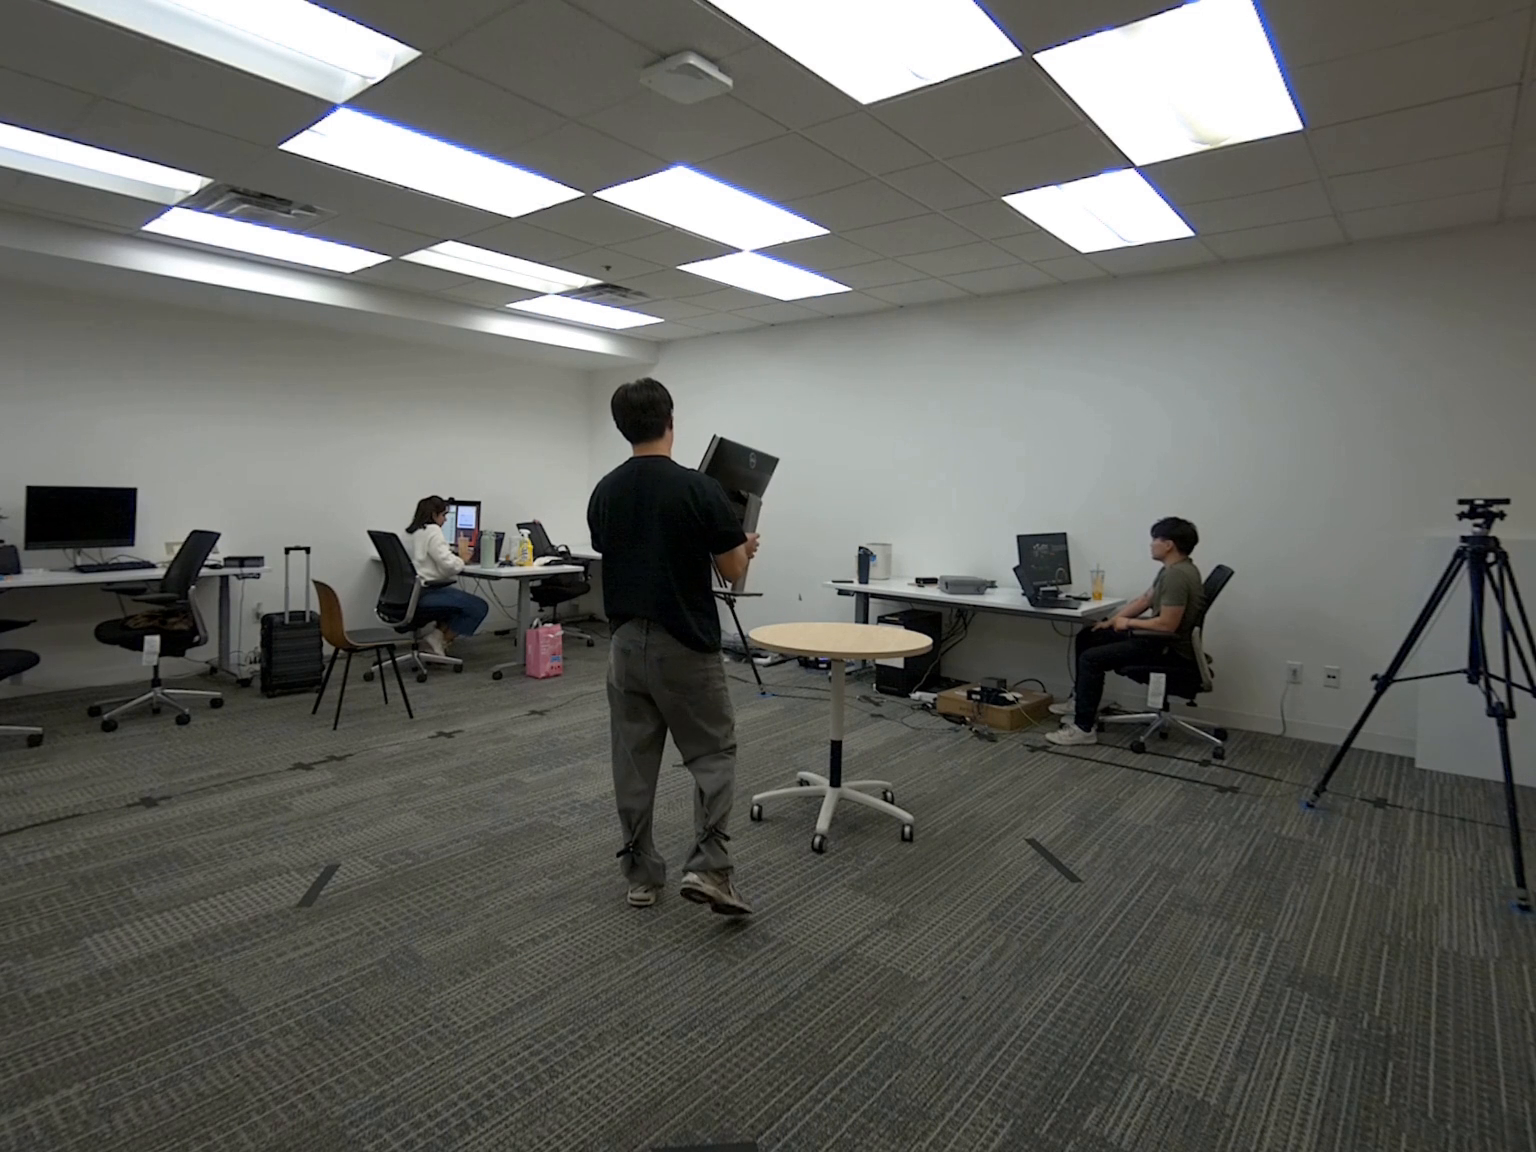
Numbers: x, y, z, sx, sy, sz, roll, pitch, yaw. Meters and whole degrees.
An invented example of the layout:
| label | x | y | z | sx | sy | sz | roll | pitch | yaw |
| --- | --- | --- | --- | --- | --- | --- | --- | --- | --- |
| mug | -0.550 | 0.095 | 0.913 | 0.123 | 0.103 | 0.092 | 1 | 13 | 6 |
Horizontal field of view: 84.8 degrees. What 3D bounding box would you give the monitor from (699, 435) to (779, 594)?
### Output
| label | x | y | z | sx | sy | sz | roll | pitch | yaw |
| --- | --- | --- | --- | --- | --- | --- | --- | --- | --- |
| monitor | -0.140 | -0.204 | 3.124 | 0.229 | 0.566 | 0.546 | 10 | 1 | 26 |
